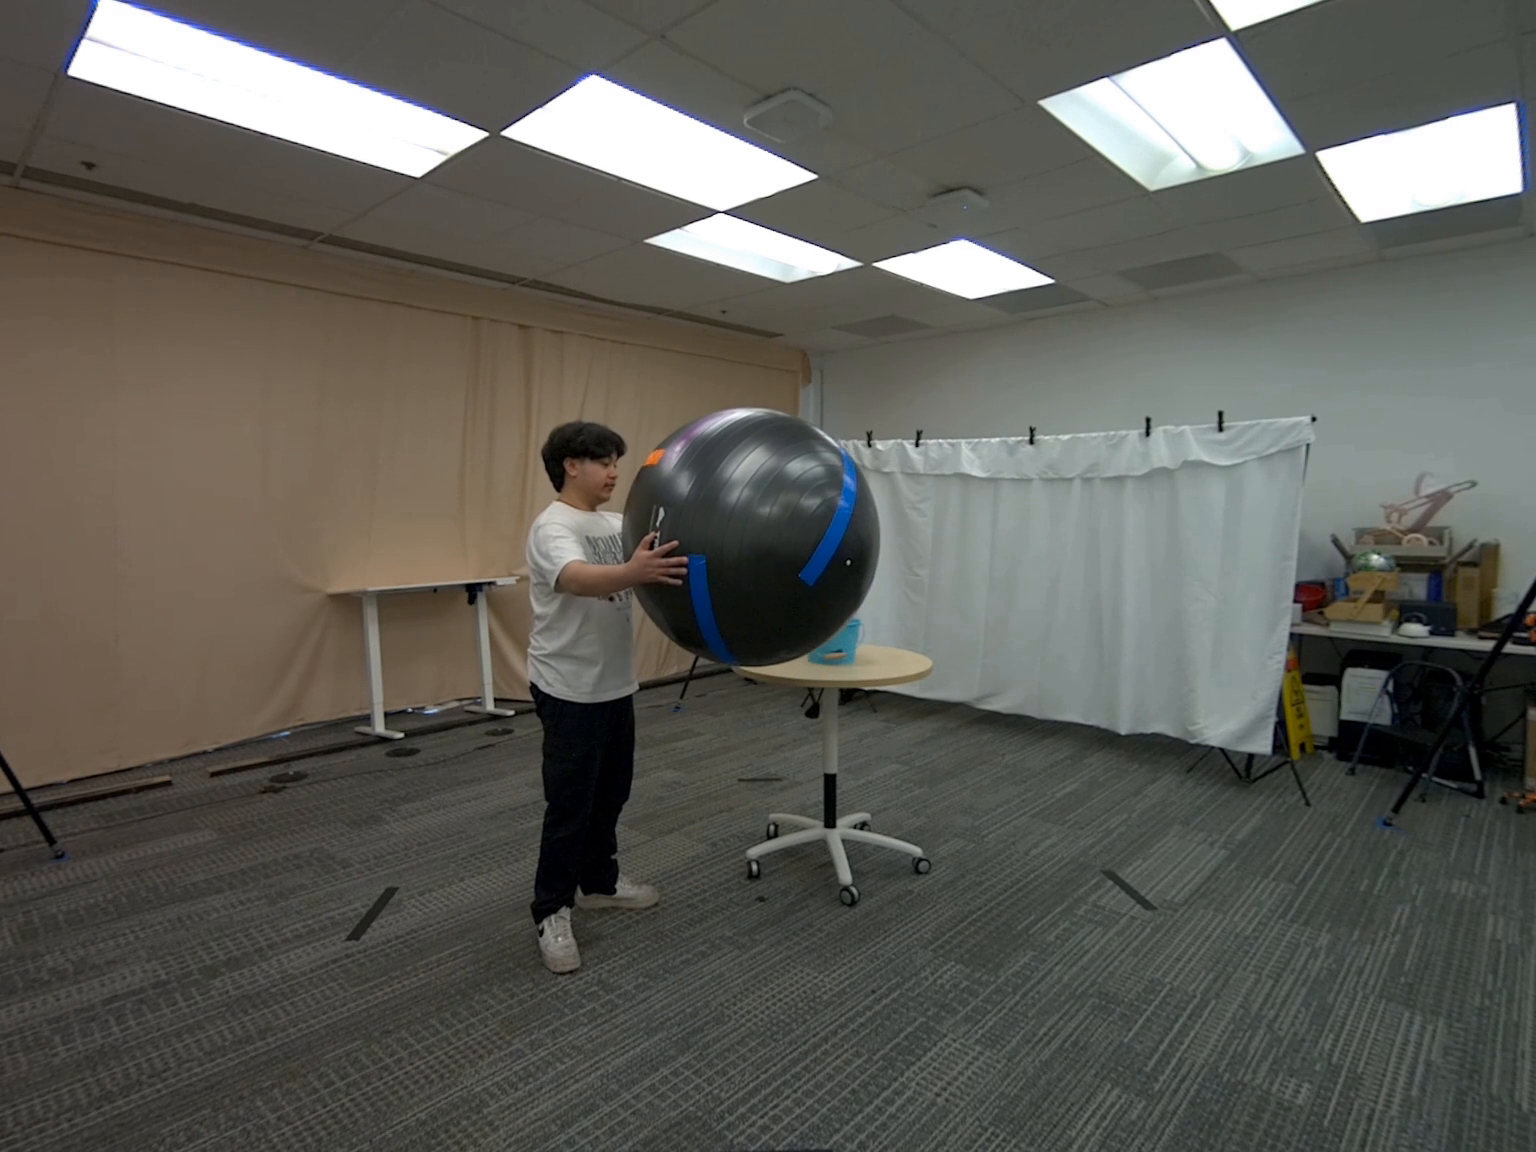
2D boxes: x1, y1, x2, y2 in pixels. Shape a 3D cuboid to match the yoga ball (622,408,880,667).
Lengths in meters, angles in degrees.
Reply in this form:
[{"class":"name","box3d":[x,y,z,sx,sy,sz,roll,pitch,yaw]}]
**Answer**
[{"class":"yoga ball","box3d":[-0.052,-0.104,2.485,0.757,0.756,0.761,0,4,-2]}]
